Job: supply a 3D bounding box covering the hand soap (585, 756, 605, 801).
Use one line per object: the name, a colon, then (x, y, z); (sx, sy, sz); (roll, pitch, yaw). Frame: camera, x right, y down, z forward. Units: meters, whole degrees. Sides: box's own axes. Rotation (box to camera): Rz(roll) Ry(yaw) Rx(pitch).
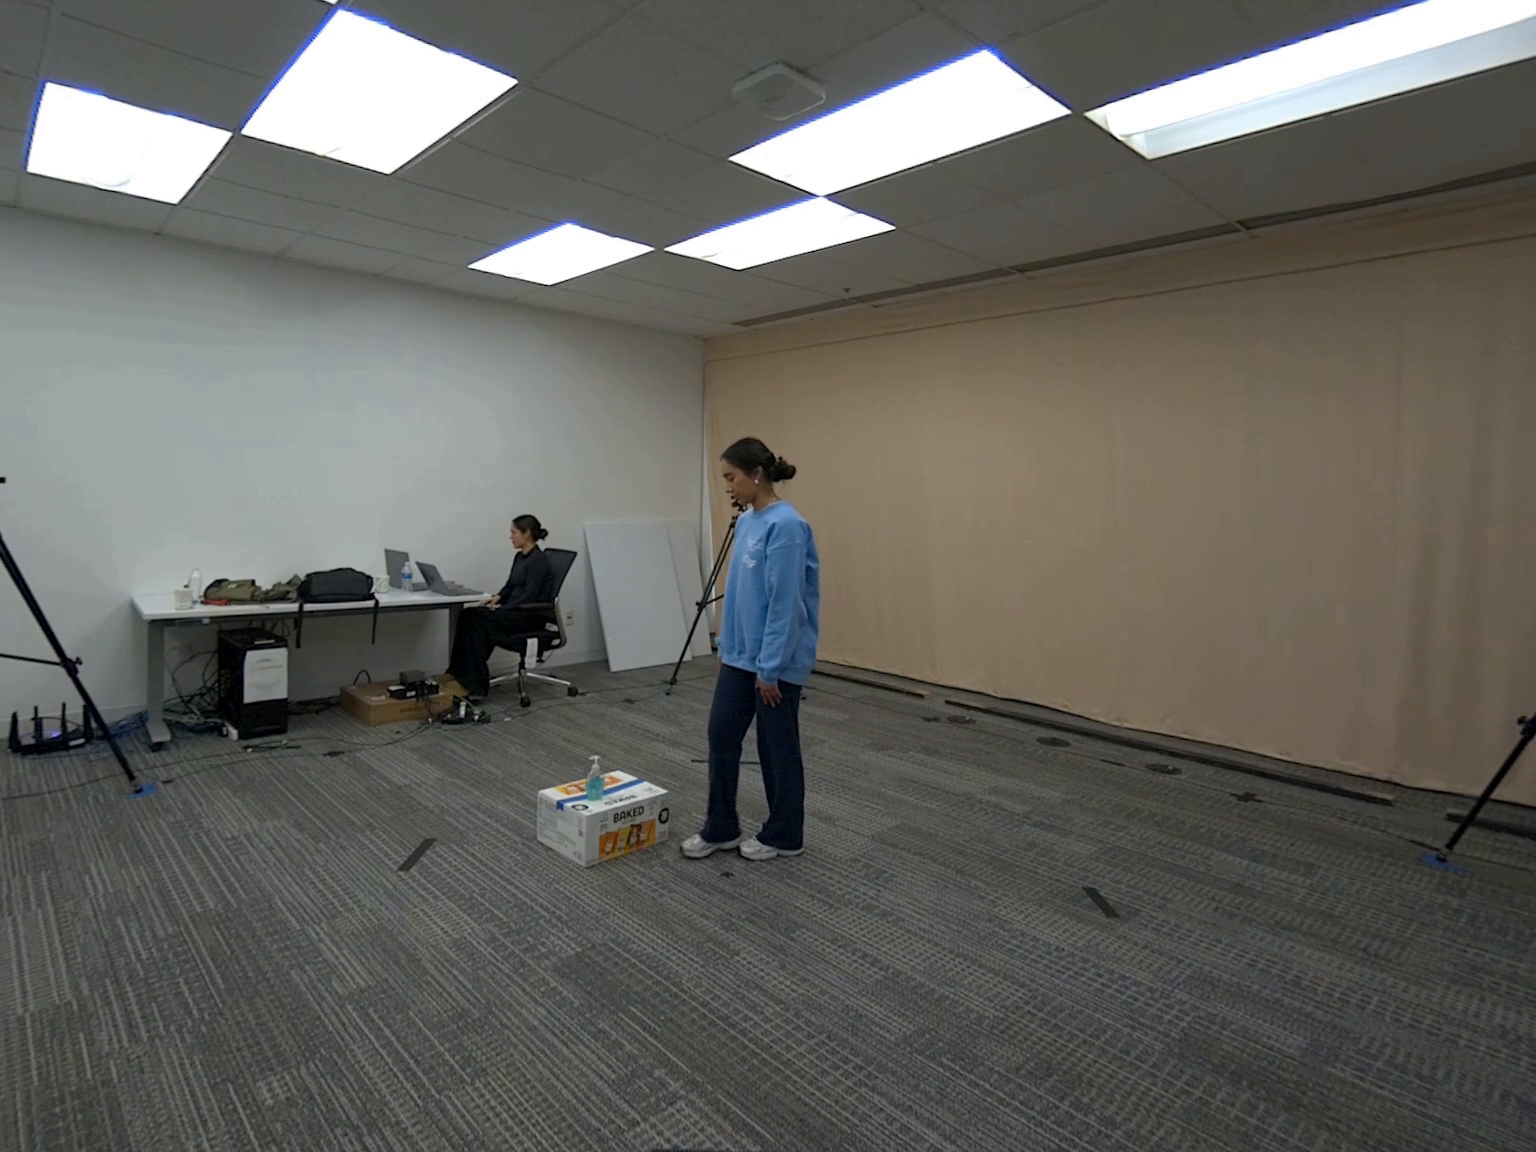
hand soap: (-0.676, 0.785, 3.296); (0.044, 0.168, 0.082); (3, 1, 44)
